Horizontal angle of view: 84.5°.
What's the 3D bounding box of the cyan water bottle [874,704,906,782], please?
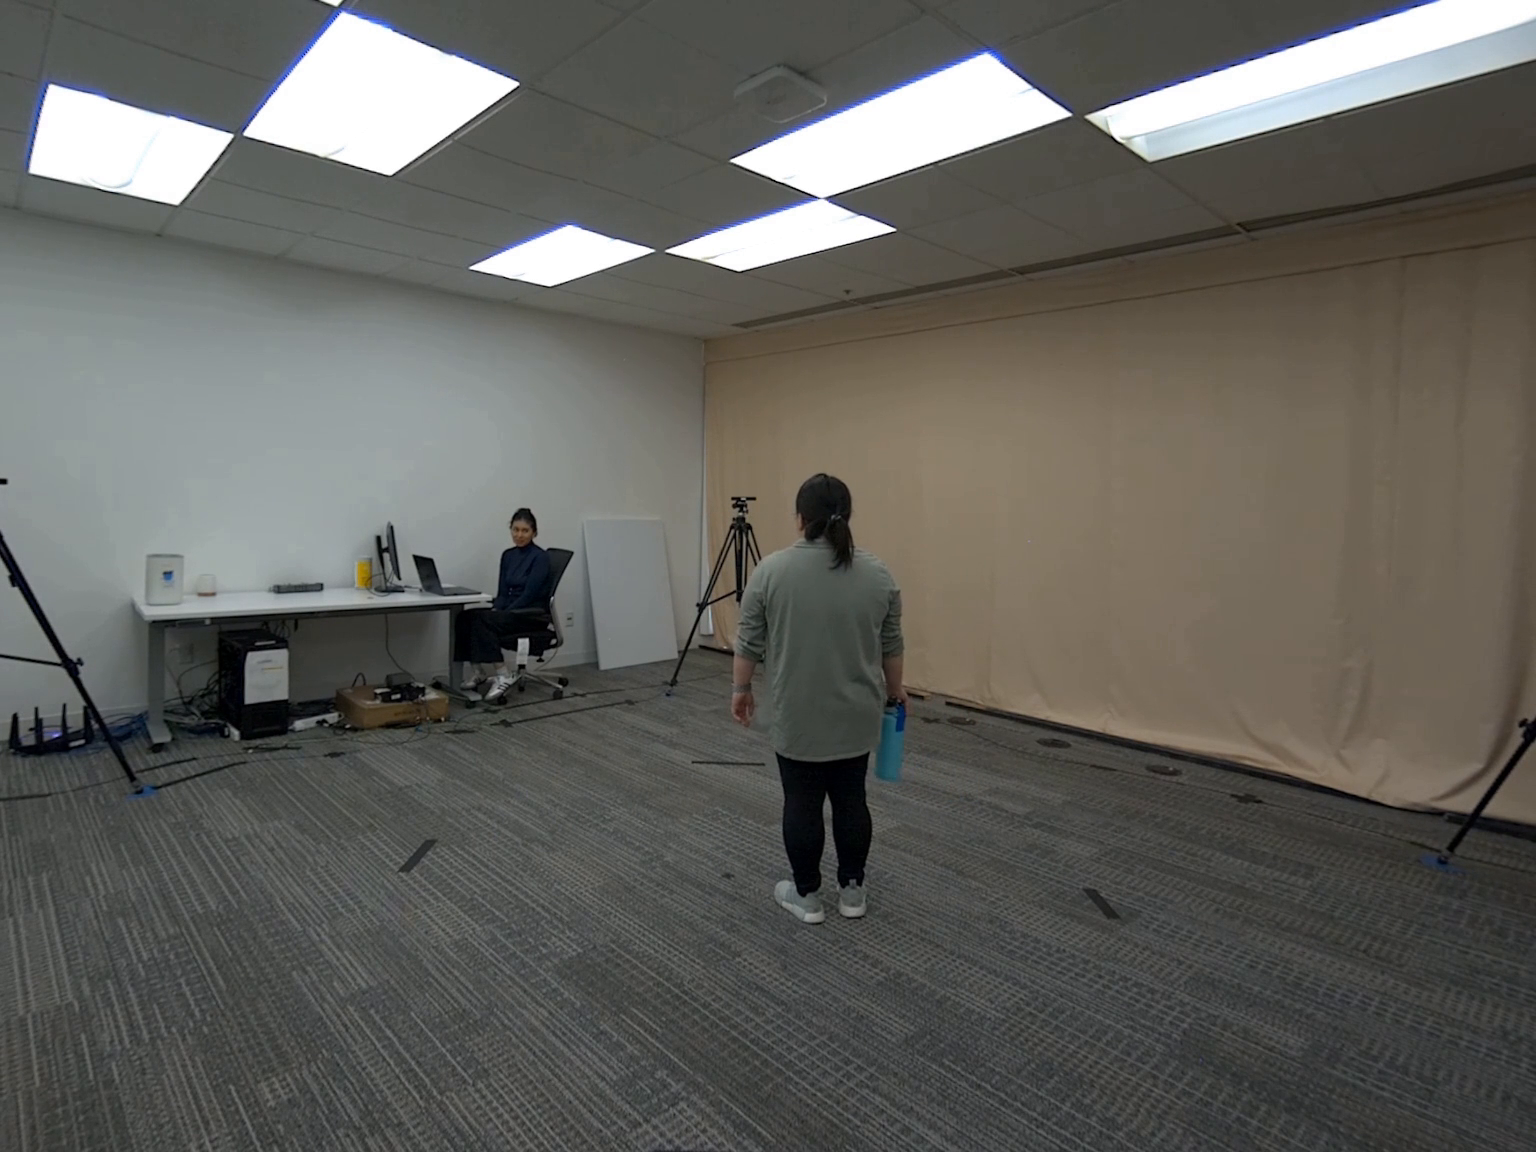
[{"bbox_3d":[0.427,0.578,2.993,0.092,0.283,0.092,5,0,-1],"label":"cyan water bottle"}]
